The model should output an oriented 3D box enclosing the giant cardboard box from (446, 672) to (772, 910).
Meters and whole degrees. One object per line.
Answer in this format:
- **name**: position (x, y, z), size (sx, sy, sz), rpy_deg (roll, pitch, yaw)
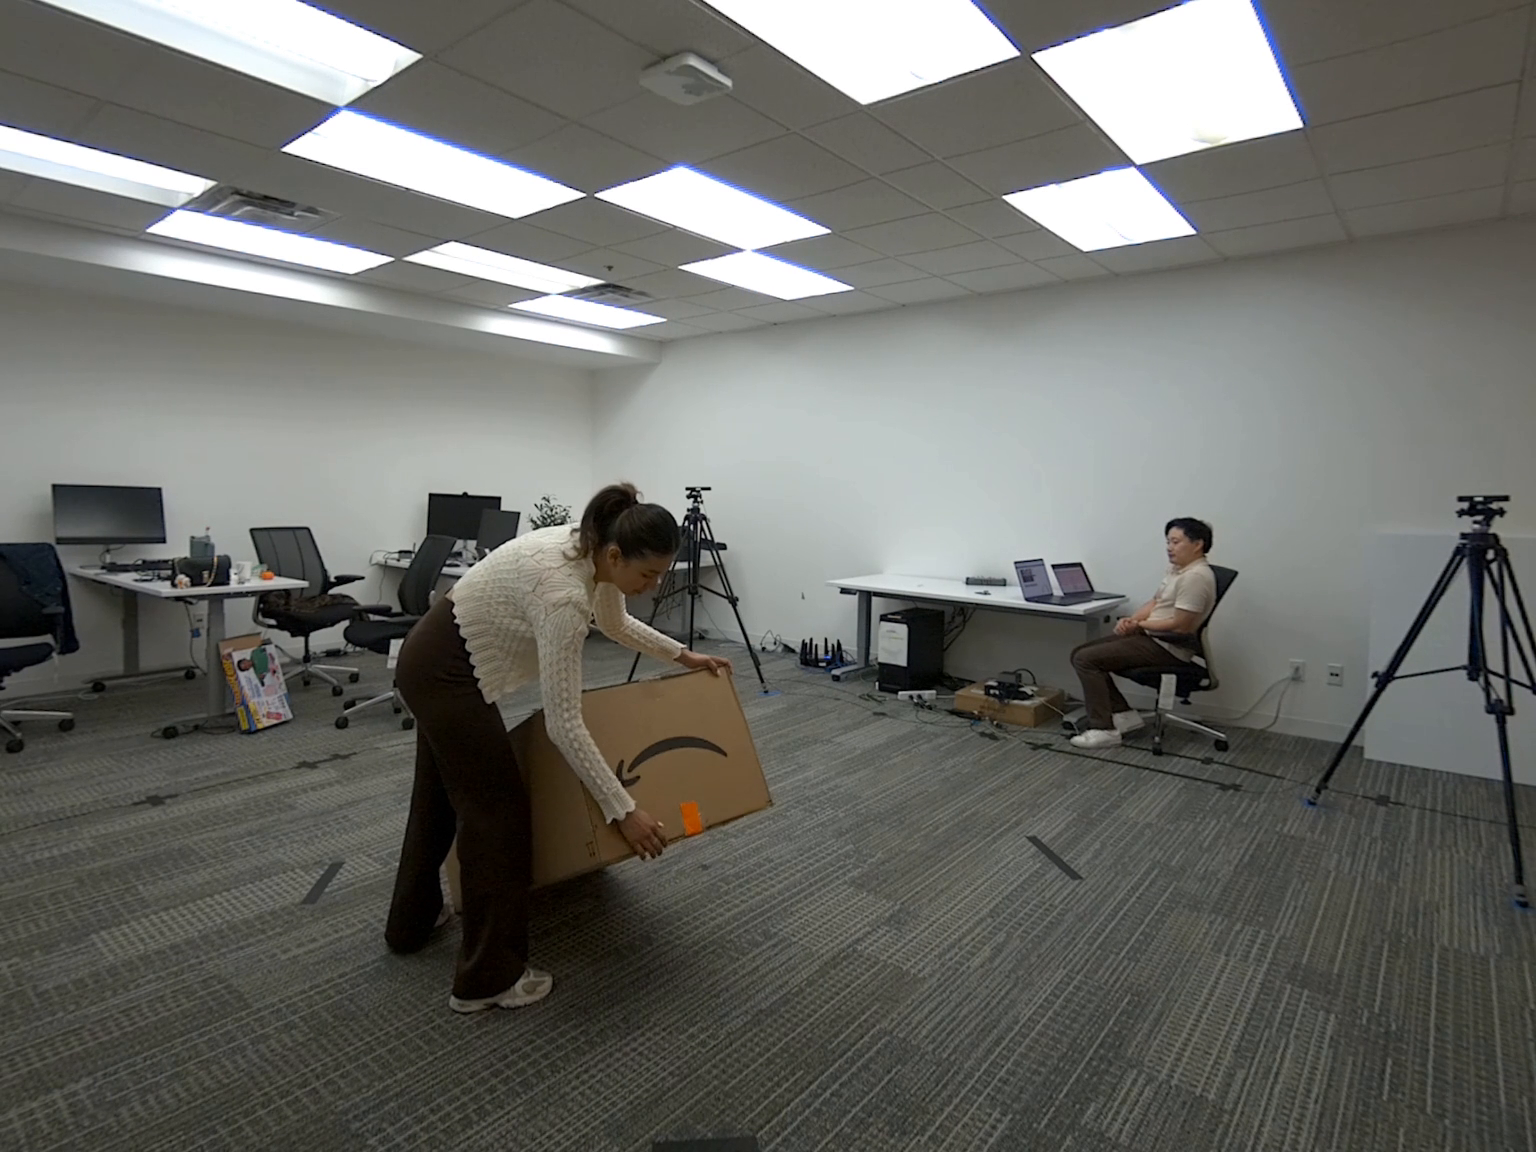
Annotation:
- **giant cardboard box**: position (-0.569, 0.680, 2.645), size (0.560, 0.435, 1.035), rpy_deg (-4, -21, -41)
